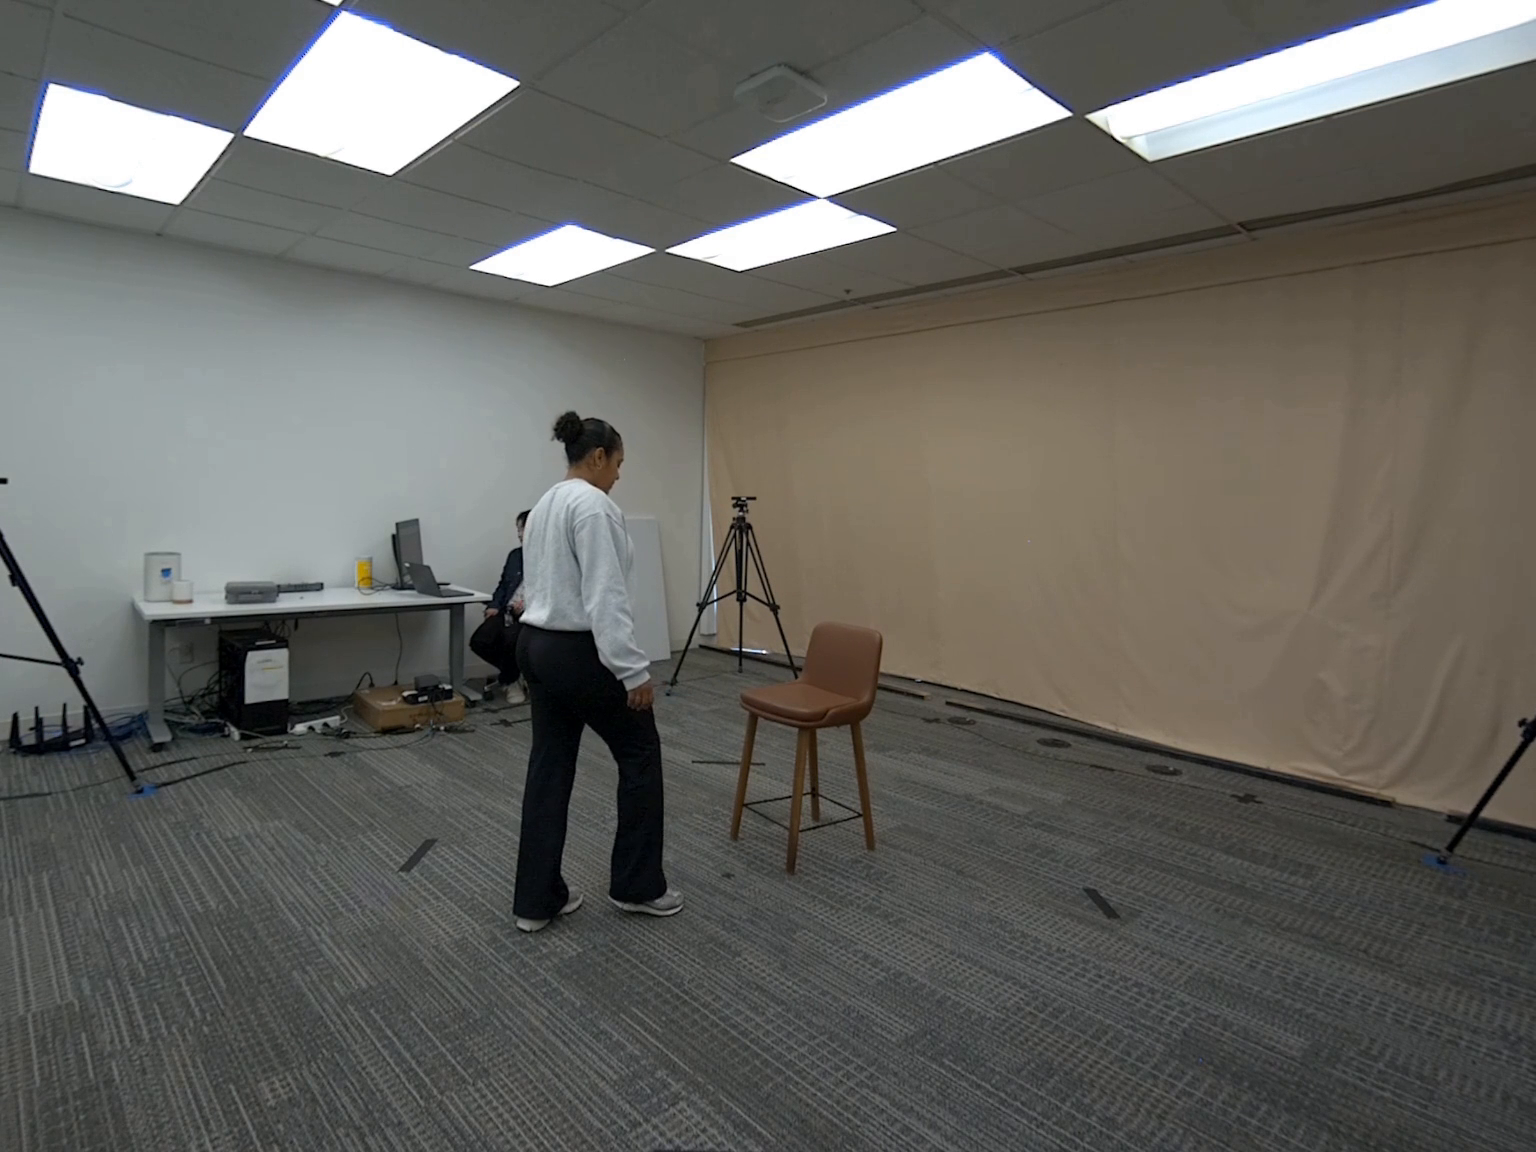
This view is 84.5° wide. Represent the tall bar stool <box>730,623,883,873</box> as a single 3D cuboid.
[{"bbox_3d":[0.153,0.653,3.394,0.457,0.889,0.467,2,2,-35],"label":"tall bar stool"}]
